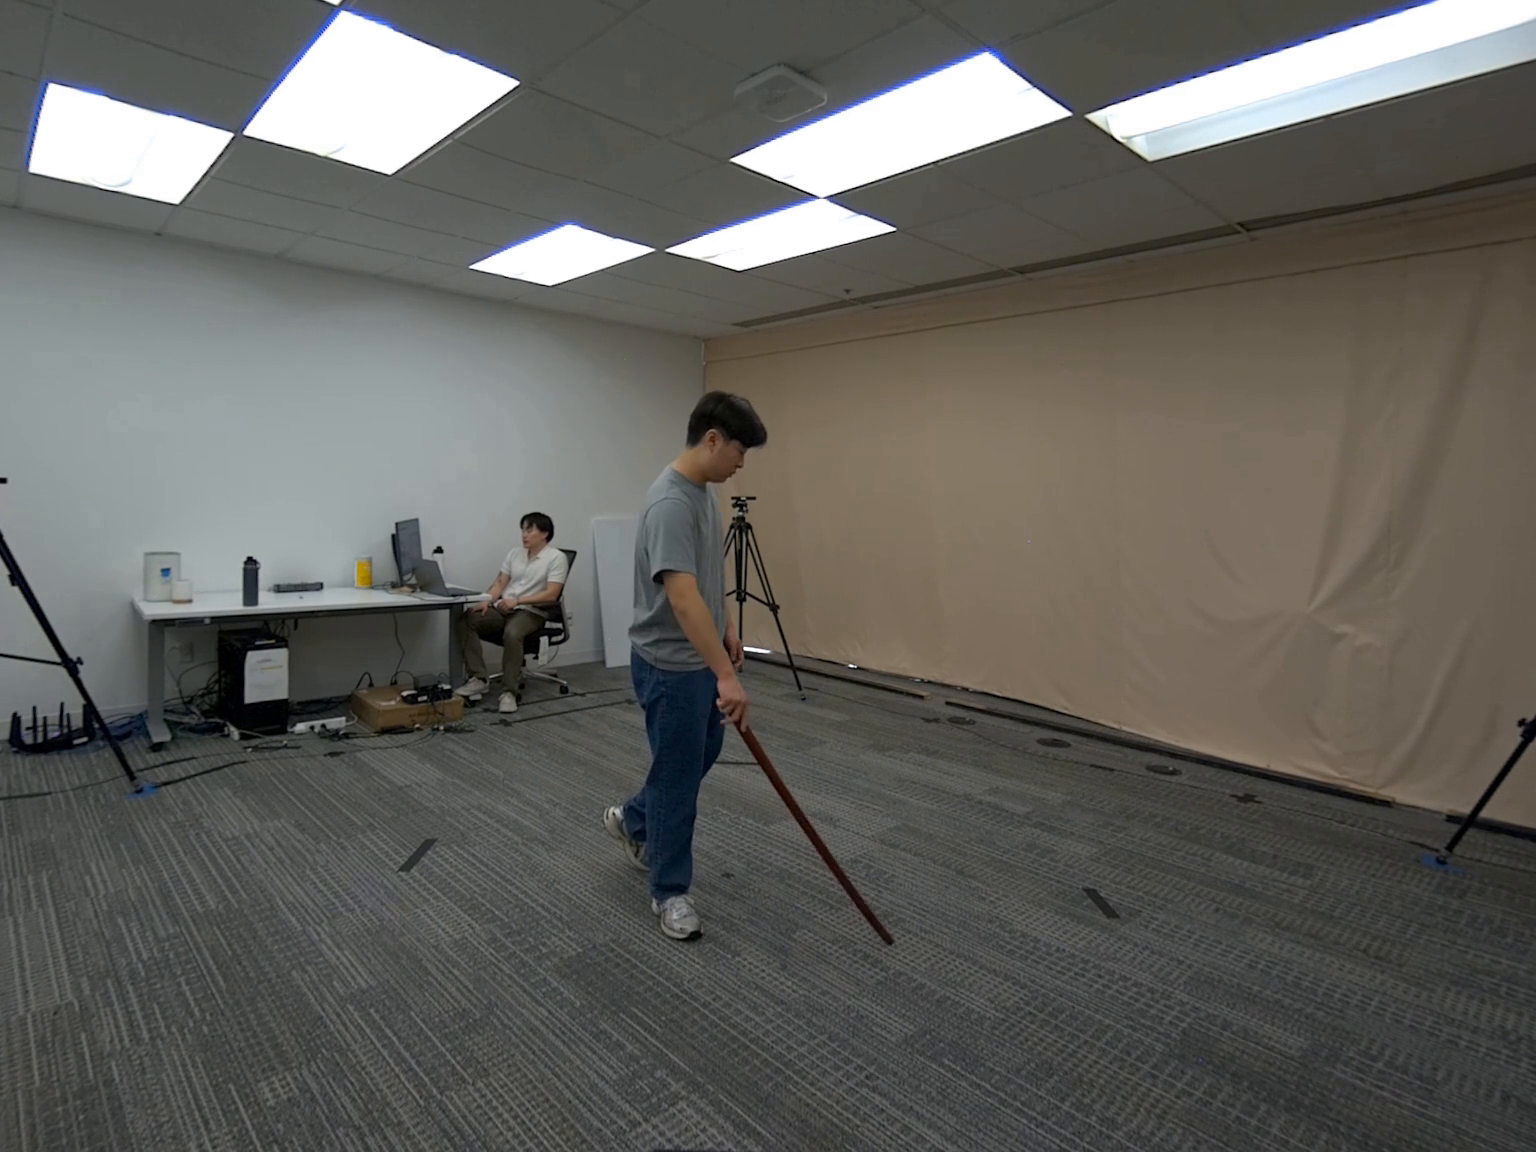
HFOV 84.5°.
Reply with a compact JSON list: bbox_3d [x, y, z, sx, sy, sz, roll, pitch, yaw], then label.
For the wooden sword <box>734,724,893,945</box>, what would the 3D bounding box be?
[{"bbox_3d":[0.122,0.766,2.509,0.052,1.006,0.024,-10,29,51],"label":"wooden sword"}]
